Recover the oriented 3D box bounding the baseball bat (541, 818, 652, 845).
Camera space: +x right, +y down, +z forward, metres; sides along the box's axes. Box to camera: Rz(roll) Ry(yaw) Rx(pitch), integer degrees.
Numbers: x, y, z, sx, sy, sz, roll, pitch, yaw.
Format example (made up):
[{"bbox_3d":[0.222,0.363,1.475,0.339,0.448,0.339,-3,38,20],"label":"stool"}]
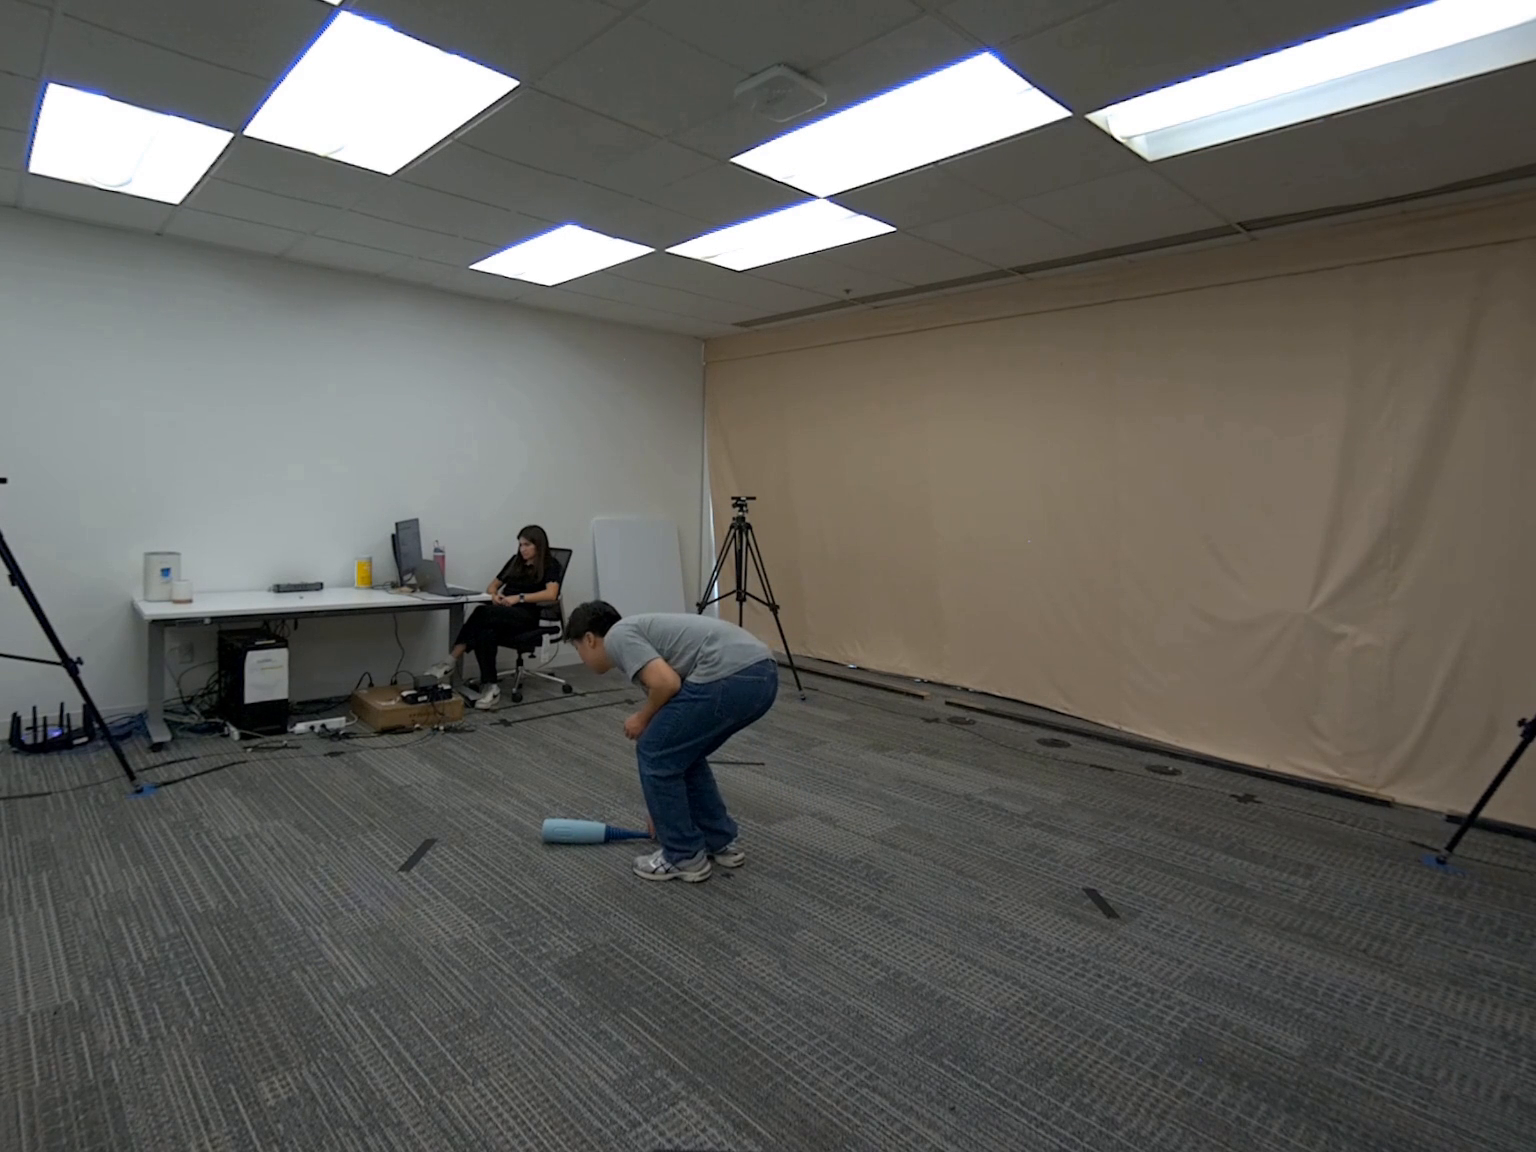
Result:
[{"bbox_3d":[-0.638,1.029,3.371,0.541,0.089,0.089,5,4,-3],"label":"baseball bat"}]
